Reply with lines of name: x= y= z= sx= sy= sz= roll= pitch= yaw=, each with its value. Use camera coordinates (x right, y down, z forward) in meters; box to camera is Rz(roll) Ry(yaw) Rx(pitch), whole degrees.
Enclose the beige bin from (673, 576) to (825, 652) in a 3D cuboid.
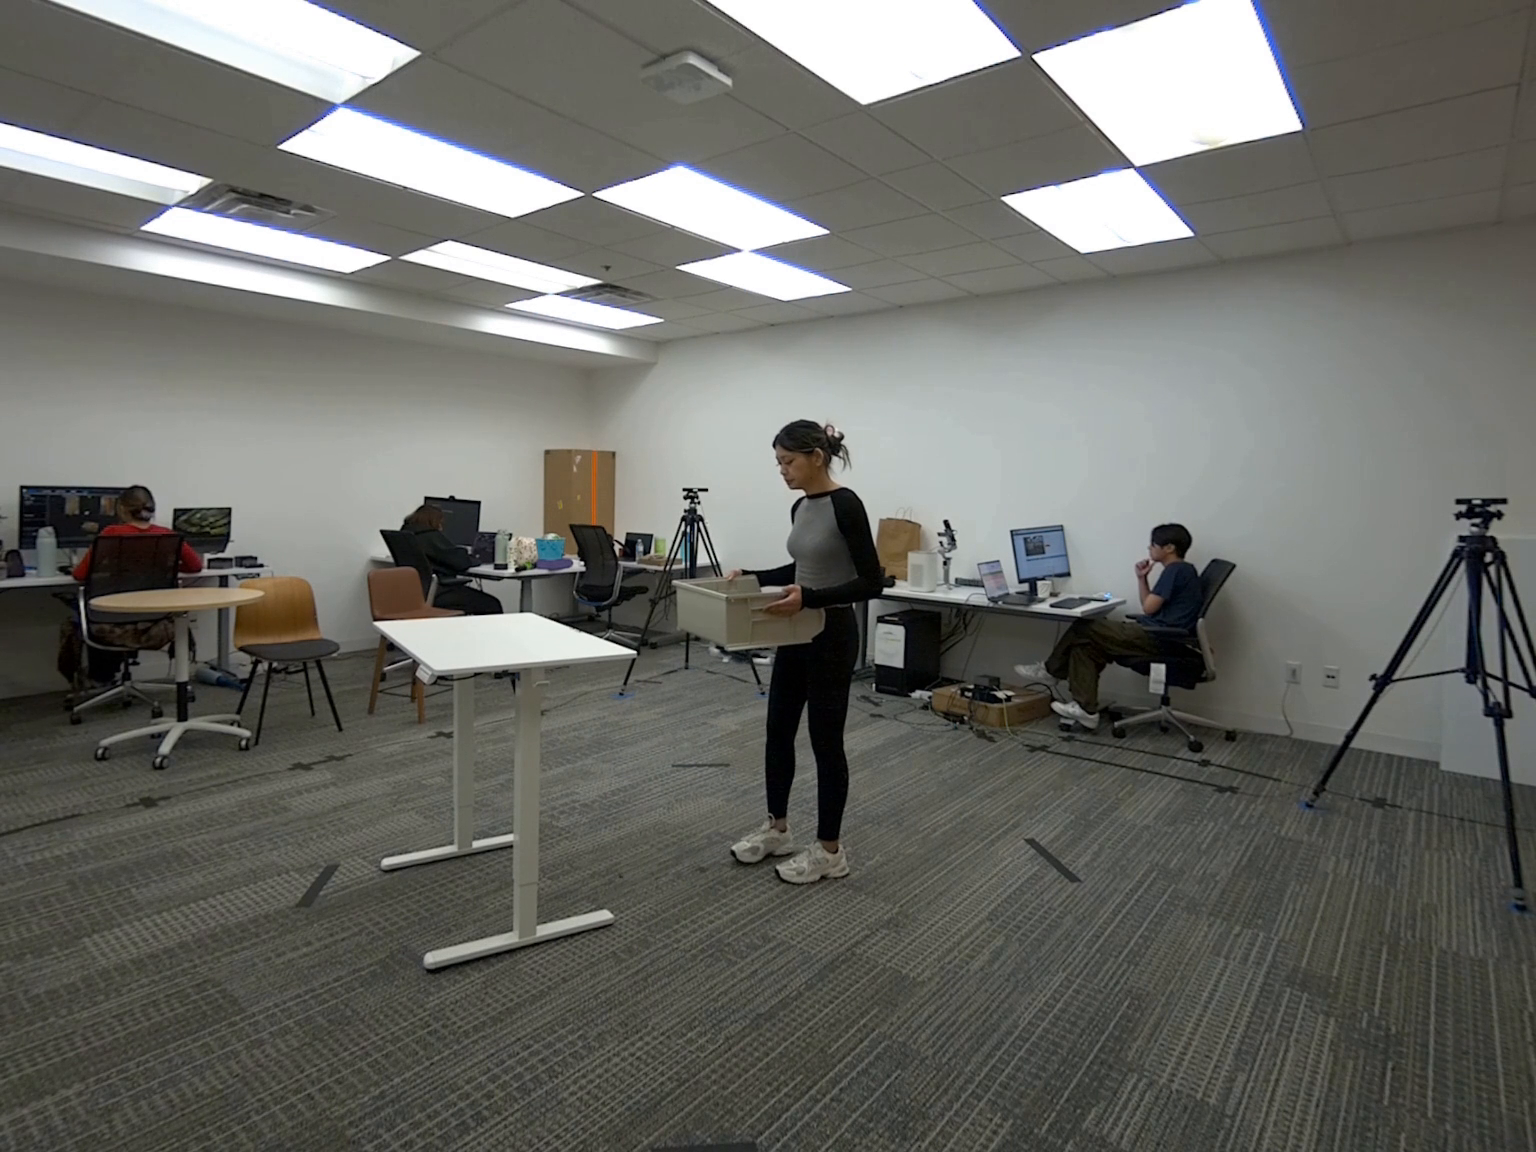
beige bin: x=-0.082 y=0.114 z=2.948 sx=0.368 sy=0.188 sz=0.435 roll=-5 pitch=9 yaw=-28
